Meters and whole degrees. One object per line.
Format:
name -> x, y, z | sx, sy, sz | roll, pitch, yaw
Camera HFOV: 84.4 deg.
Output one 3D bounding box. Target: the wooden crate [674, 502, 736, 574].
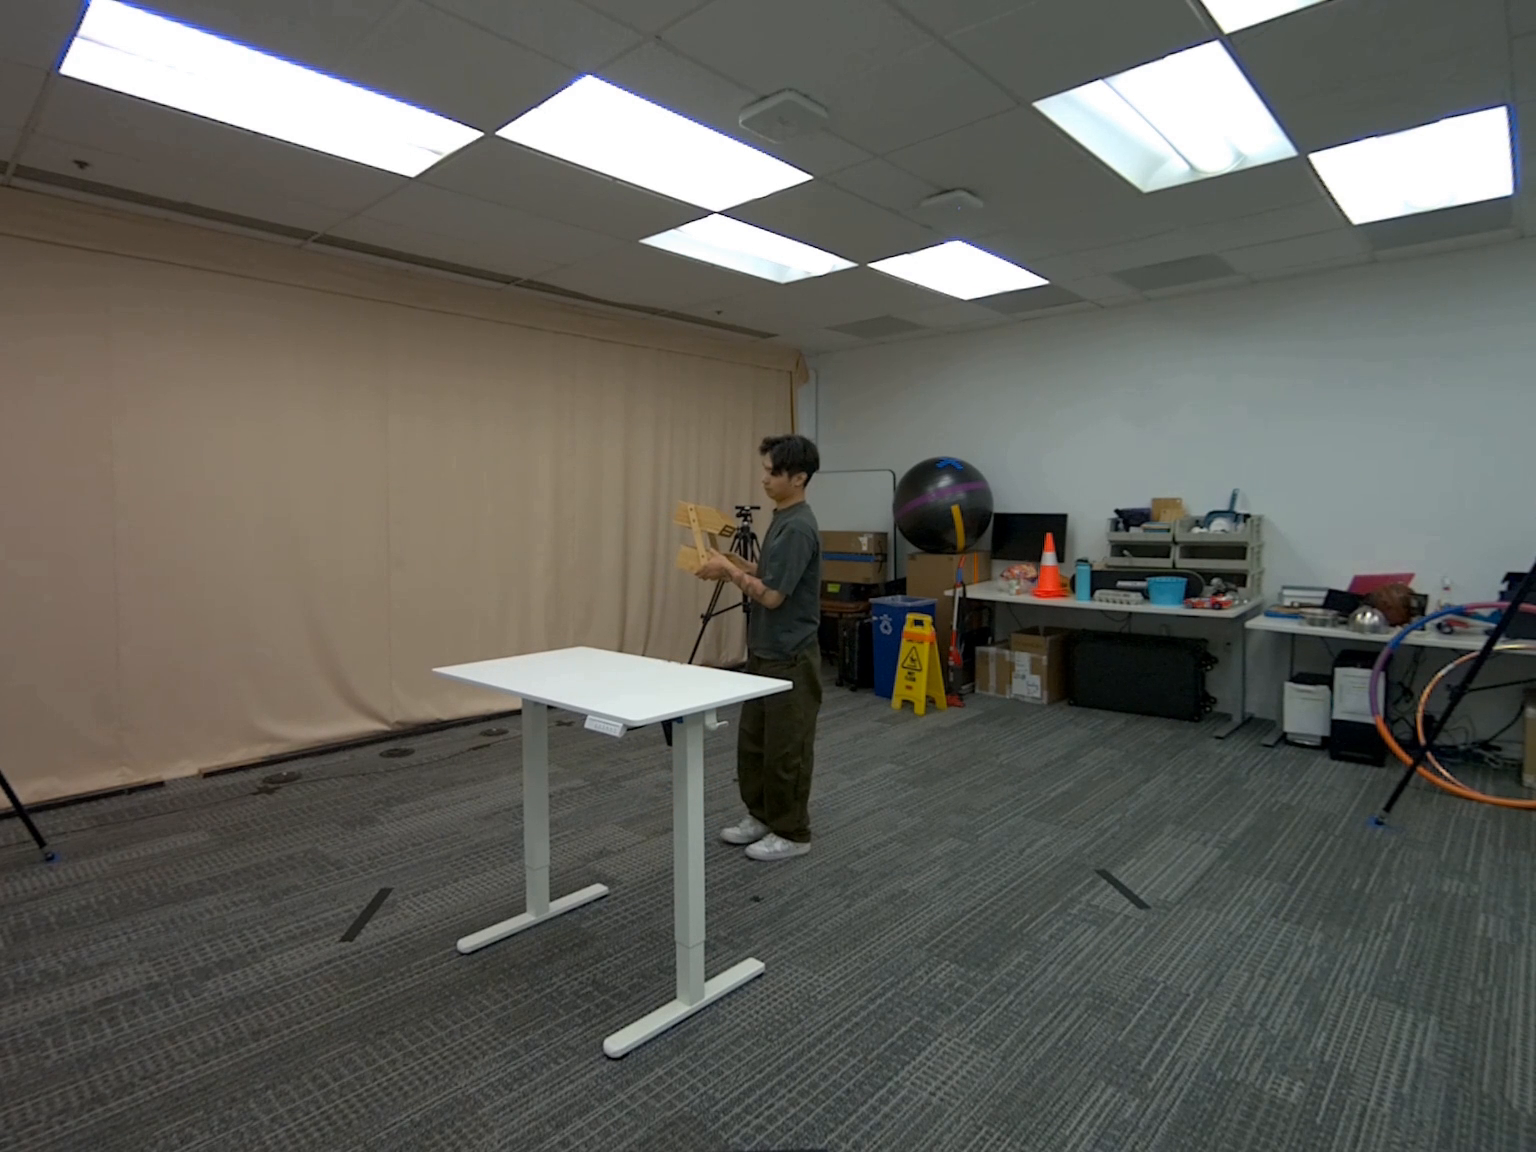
wooden crate -> -0.224, -0.140, 3.488 | 0.305, 0.273, 0.321 | 14, 0, 8
